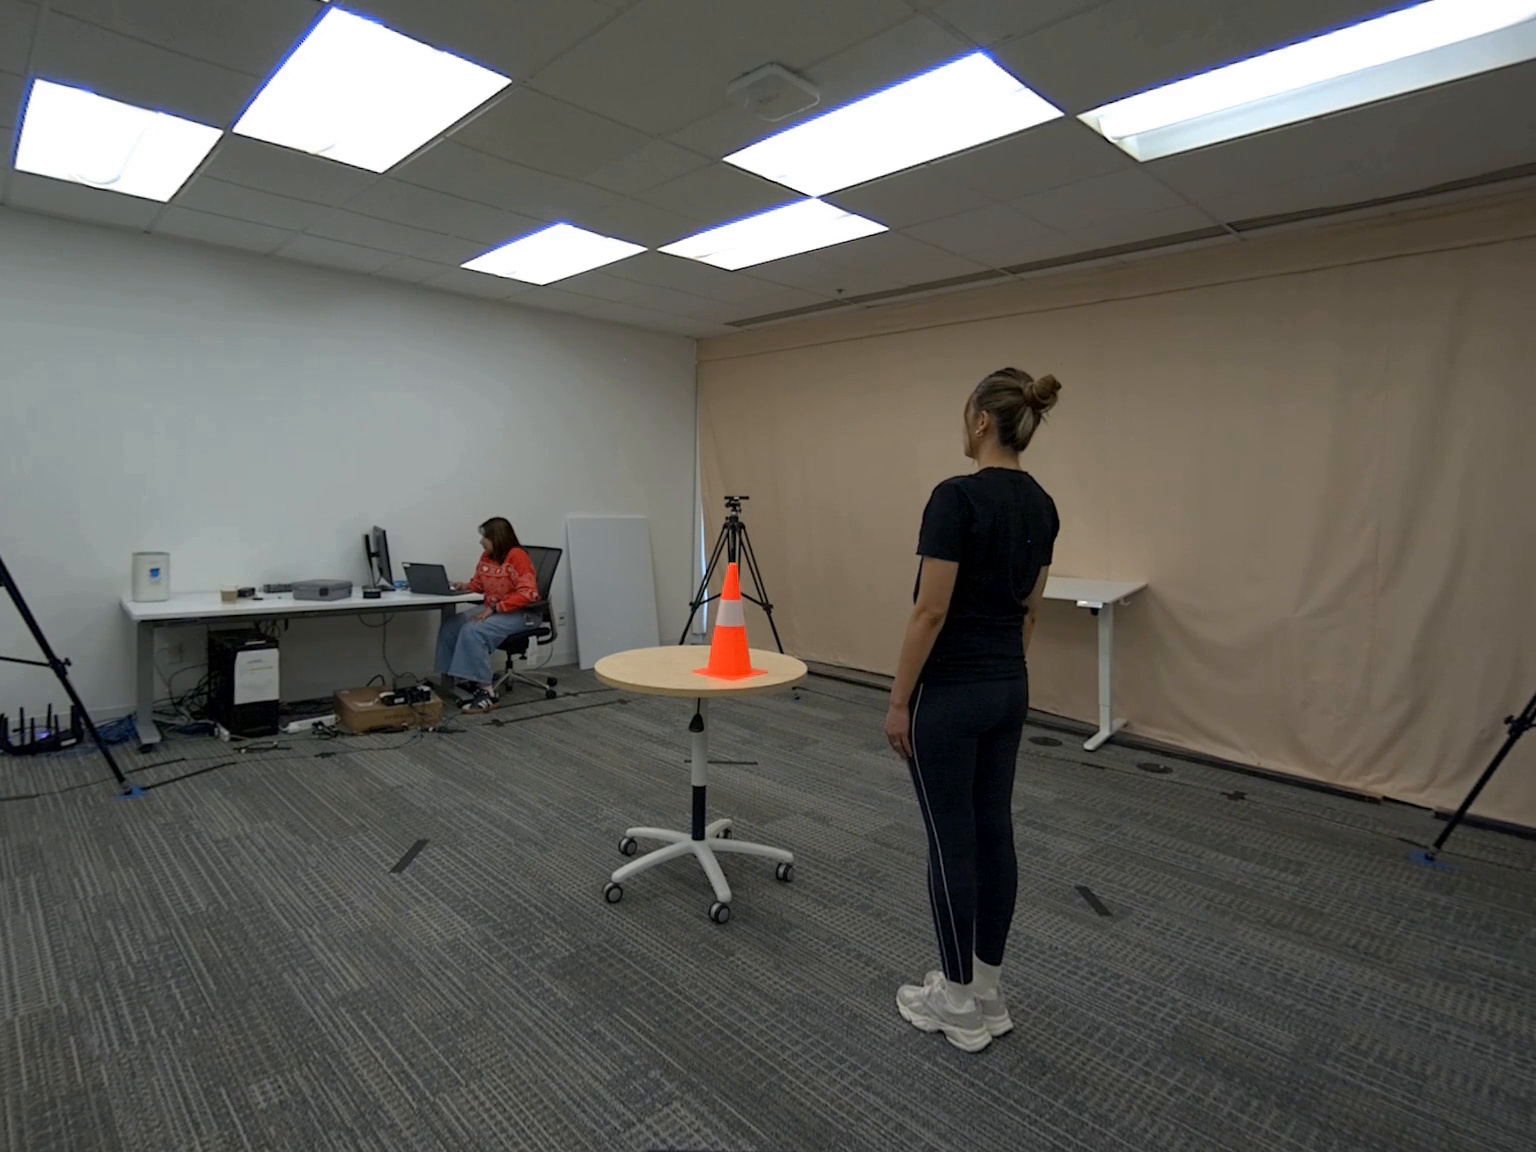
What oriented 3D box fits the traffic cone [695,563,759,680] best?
[{"bbox_3d":[-0.132,0.153,2.908,0.210,0.382,0.199,5,7,36],"label":"traffic cone"}]
